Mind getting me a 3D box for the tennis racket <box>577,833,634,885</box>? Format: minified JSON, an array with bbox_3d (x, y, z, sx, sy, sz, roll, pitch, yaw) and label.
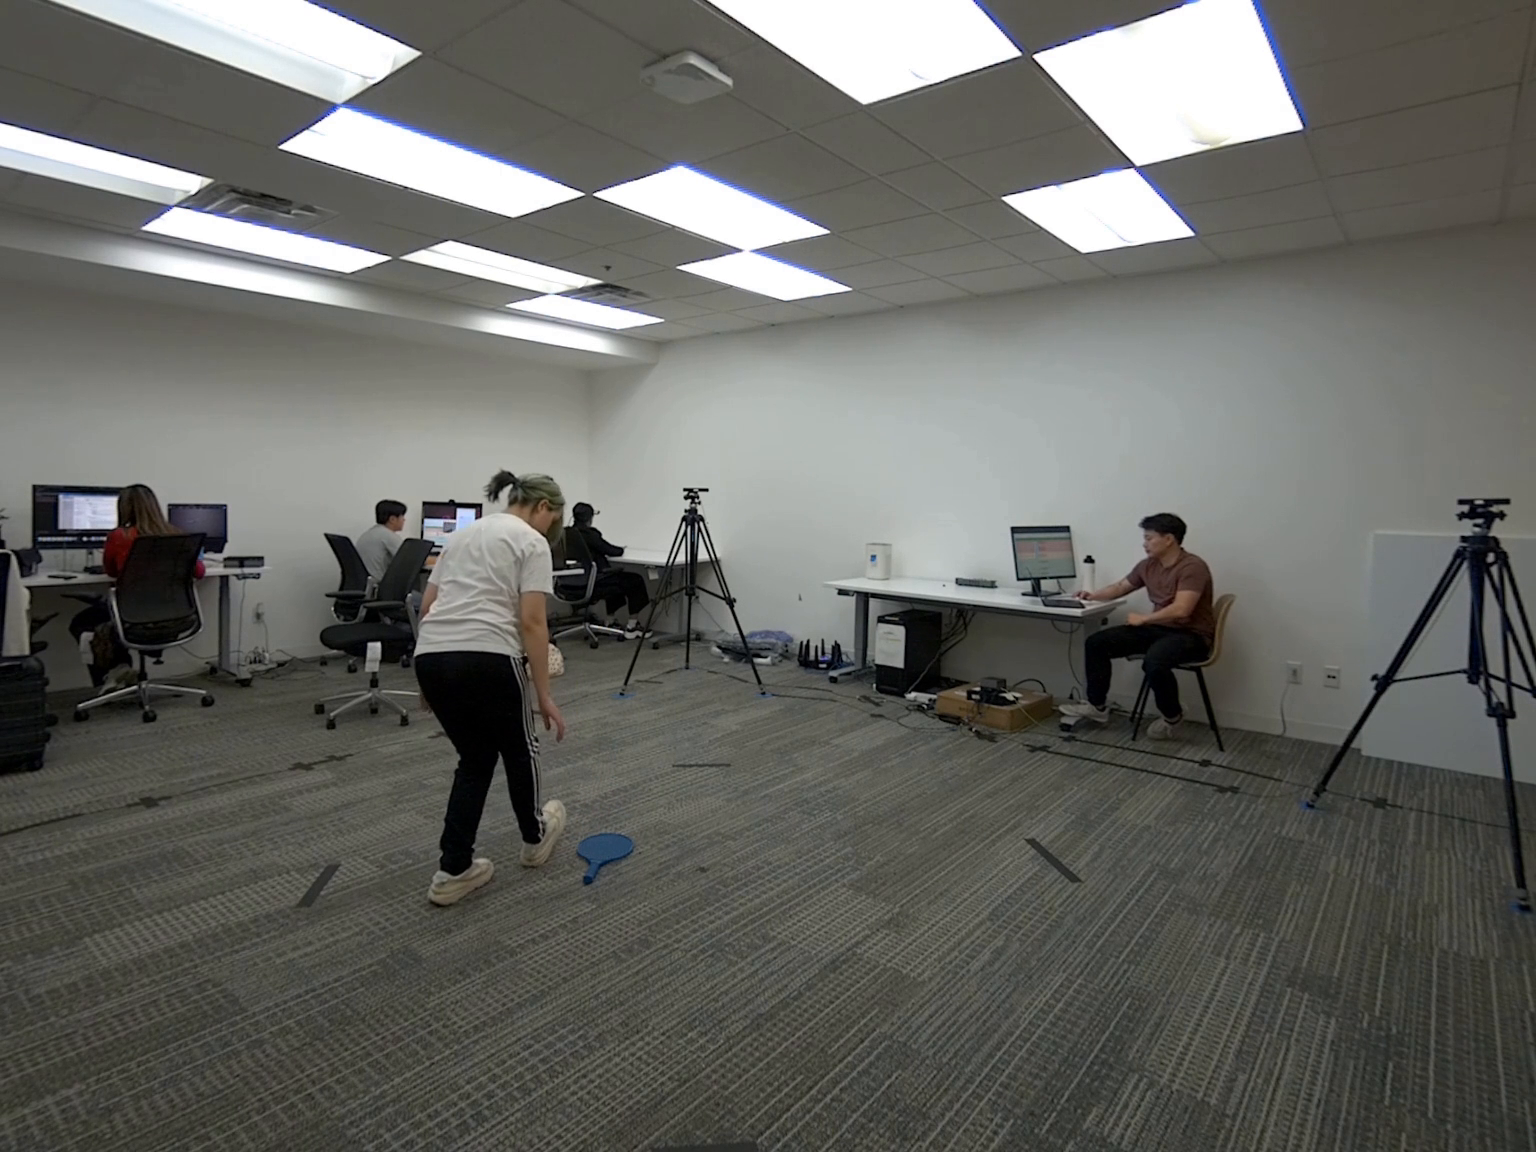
[{"bbox_3d":[-0.636,1.045,3.179,0.214,0.031,0.433,1,5,0],"label":"tennis racket"}]
